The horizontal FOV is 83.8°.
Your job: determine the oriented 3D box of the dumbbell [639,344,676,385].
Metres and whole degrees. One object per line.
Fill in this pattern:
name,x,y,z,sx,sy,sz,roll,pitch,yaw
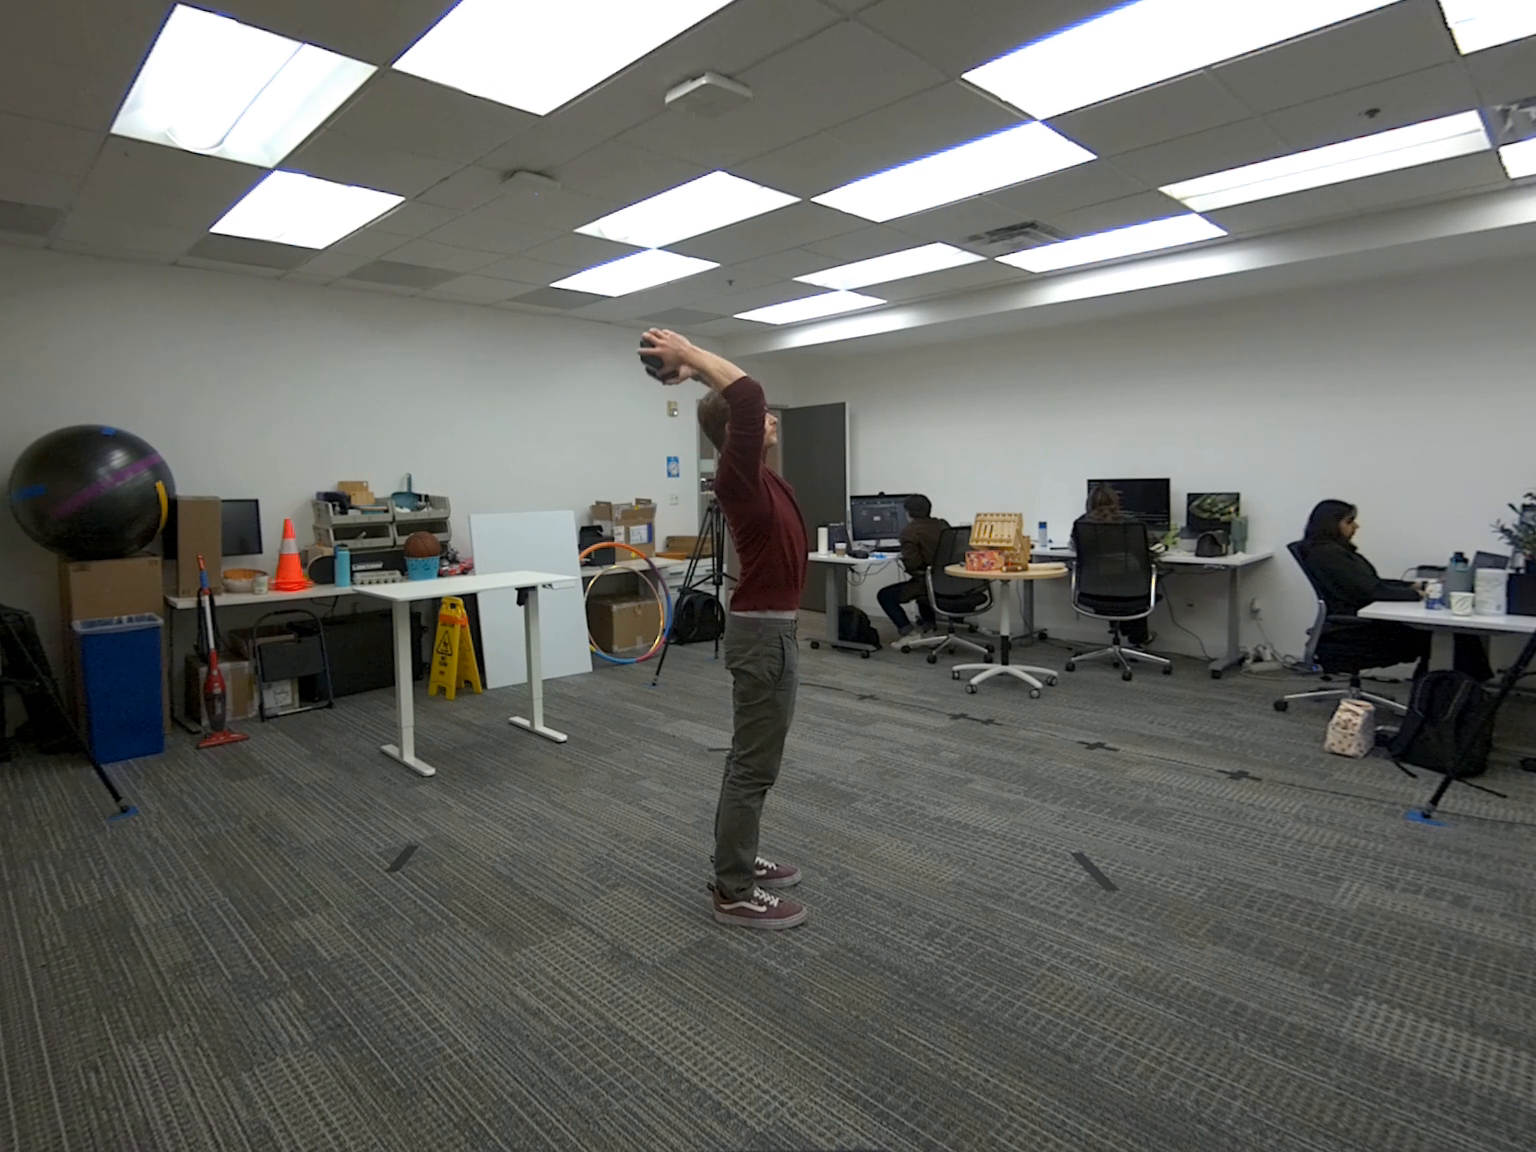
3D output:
dumbbell,-0.328,-0.704,2.764,0.123,0.109,0.293,-30,2,4
